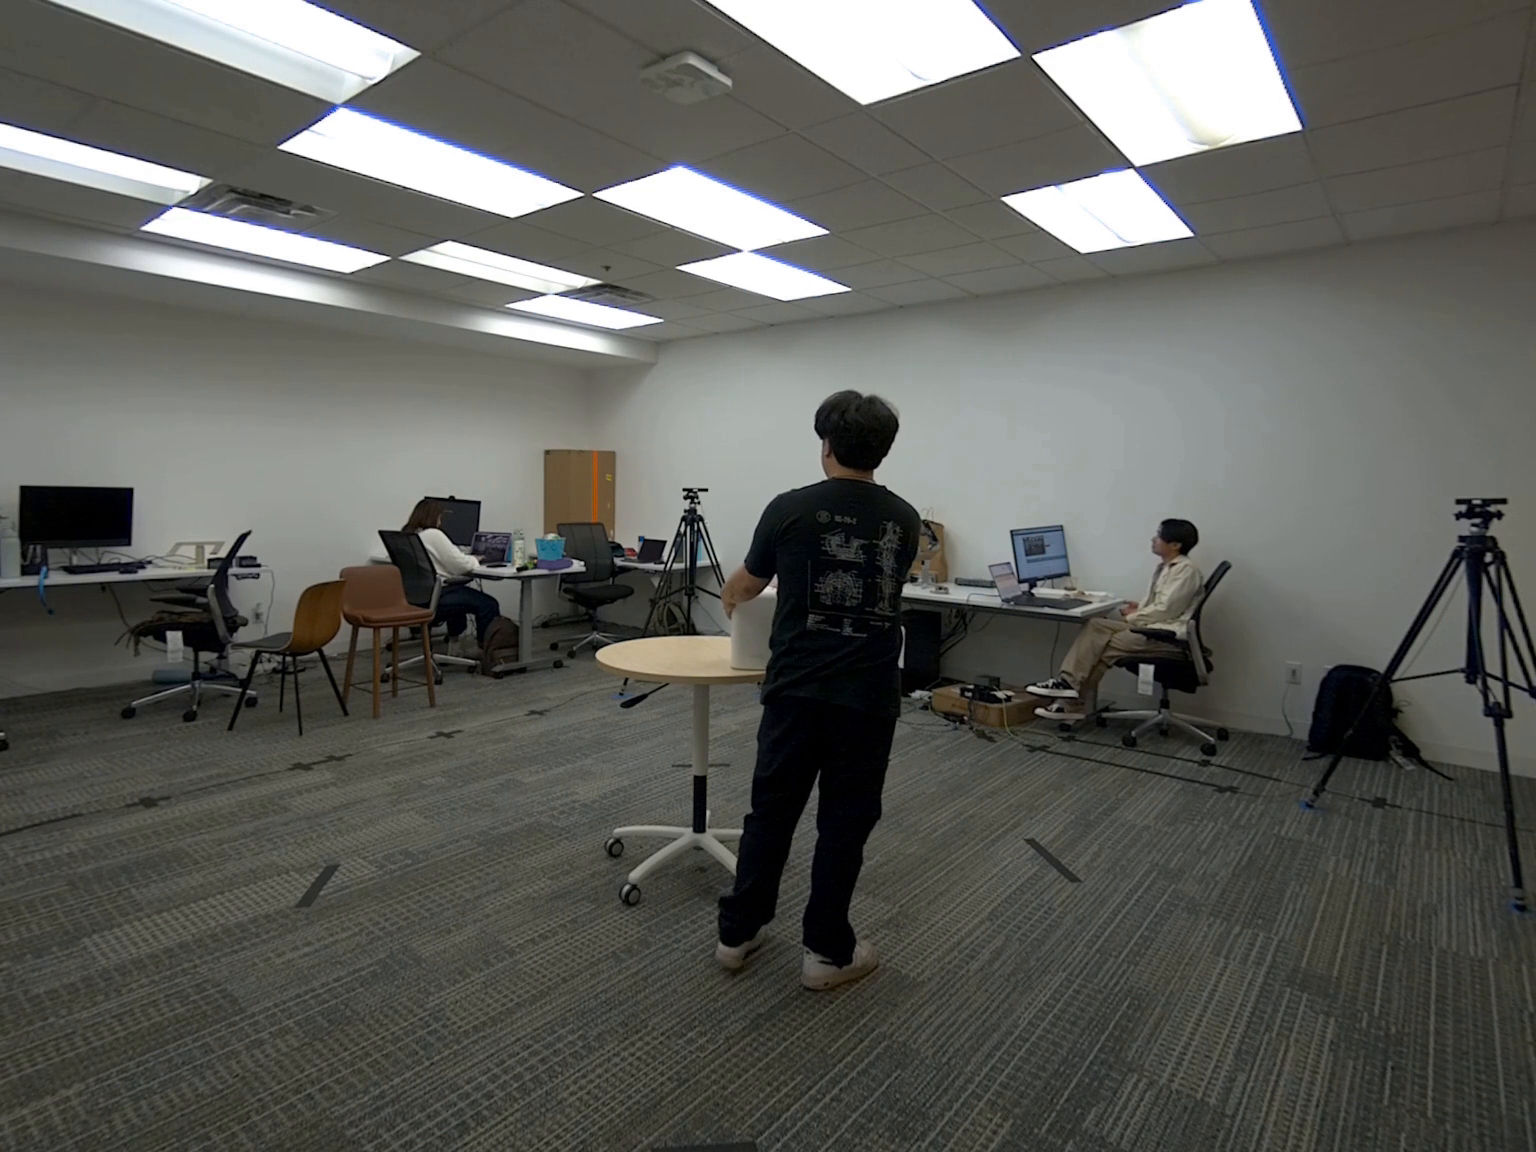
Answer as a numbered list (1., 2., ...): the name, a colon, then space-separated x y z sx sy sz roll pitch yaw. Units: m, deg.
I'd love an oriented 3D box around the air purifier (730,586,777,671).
1. air purifier: -0.046 0.173 2.875 0.172 0.264 0.171 2 5 4
